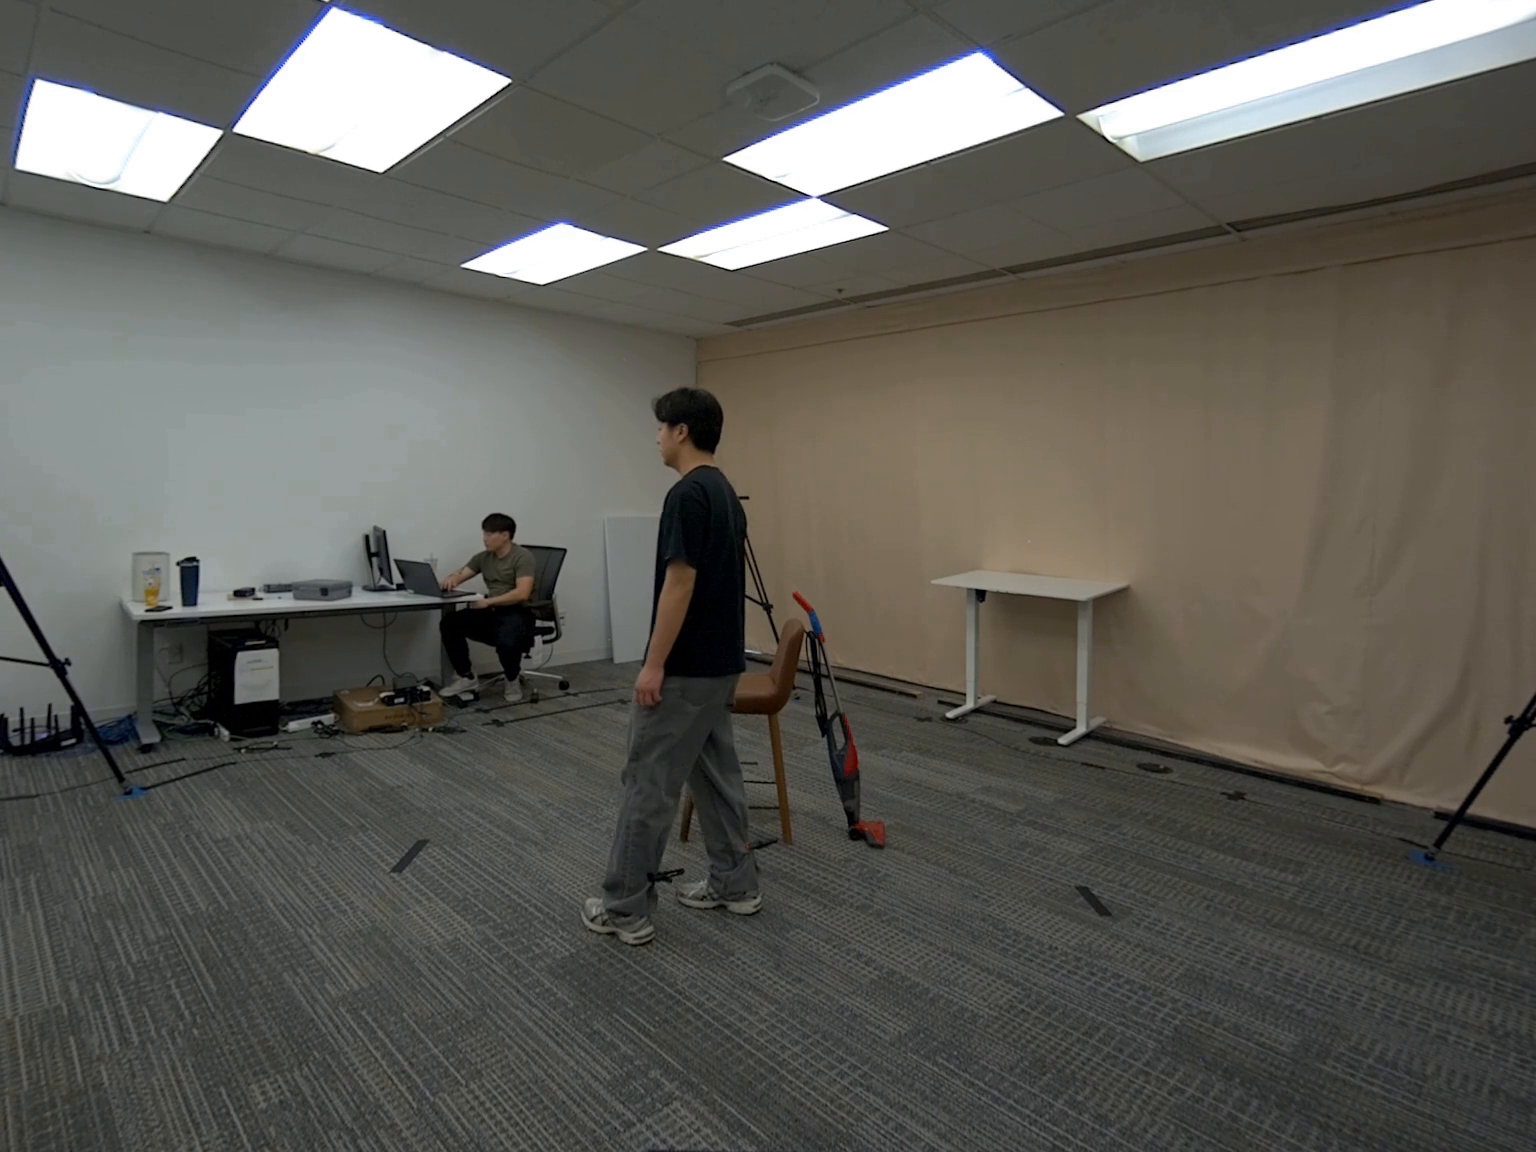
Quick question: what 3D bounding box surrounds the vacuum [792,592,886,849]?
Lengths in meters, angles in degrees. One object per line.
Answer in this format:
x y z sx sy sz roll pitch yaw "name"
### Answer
0.262 0.575 3.526 0.144 1.052 0.251 -16 -2 4 "vacuum"
